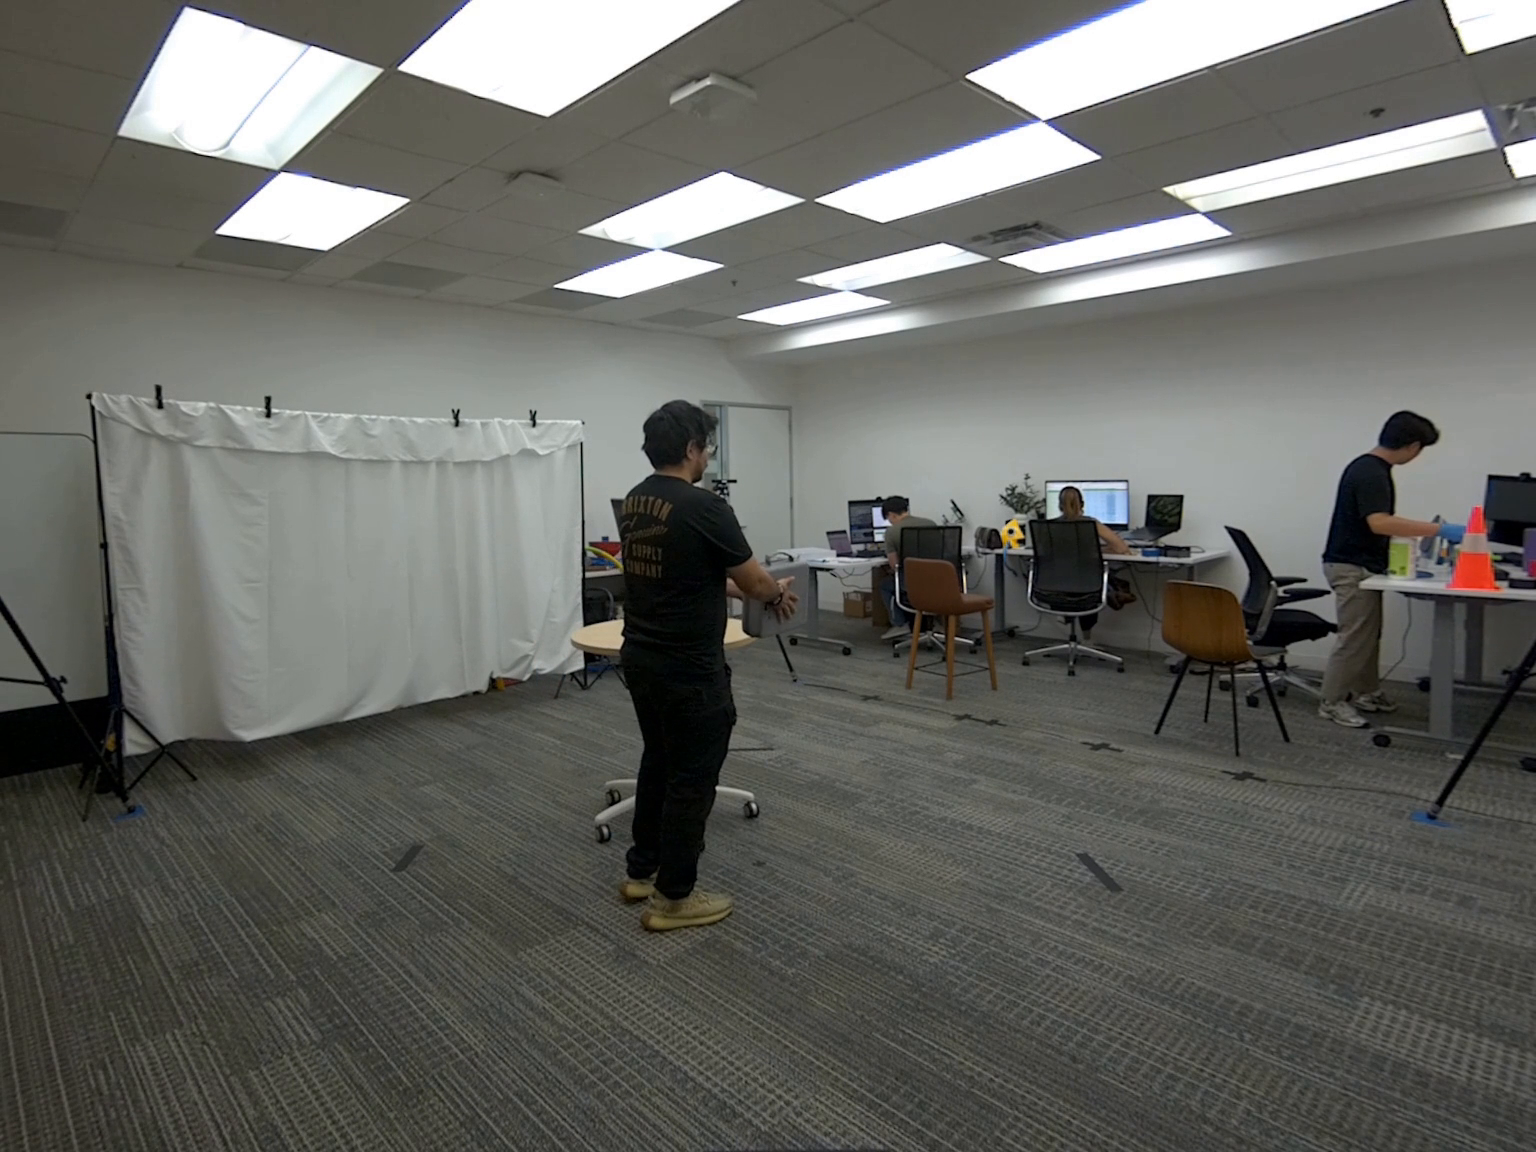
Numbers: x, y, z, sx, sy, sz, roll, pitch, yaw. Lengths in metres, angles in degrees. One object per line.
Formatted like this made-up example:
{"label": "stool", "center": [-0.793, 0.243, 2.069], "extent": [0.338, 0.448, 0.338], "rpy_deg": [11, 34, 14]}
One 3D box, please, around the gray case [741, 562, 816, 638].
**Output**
{"label": "gray case", "center": [0.032, 0.070, 3.007], "extent": [0.251, 0.258, 0.108], "rpy_deg": [-12, 16, -43]}
